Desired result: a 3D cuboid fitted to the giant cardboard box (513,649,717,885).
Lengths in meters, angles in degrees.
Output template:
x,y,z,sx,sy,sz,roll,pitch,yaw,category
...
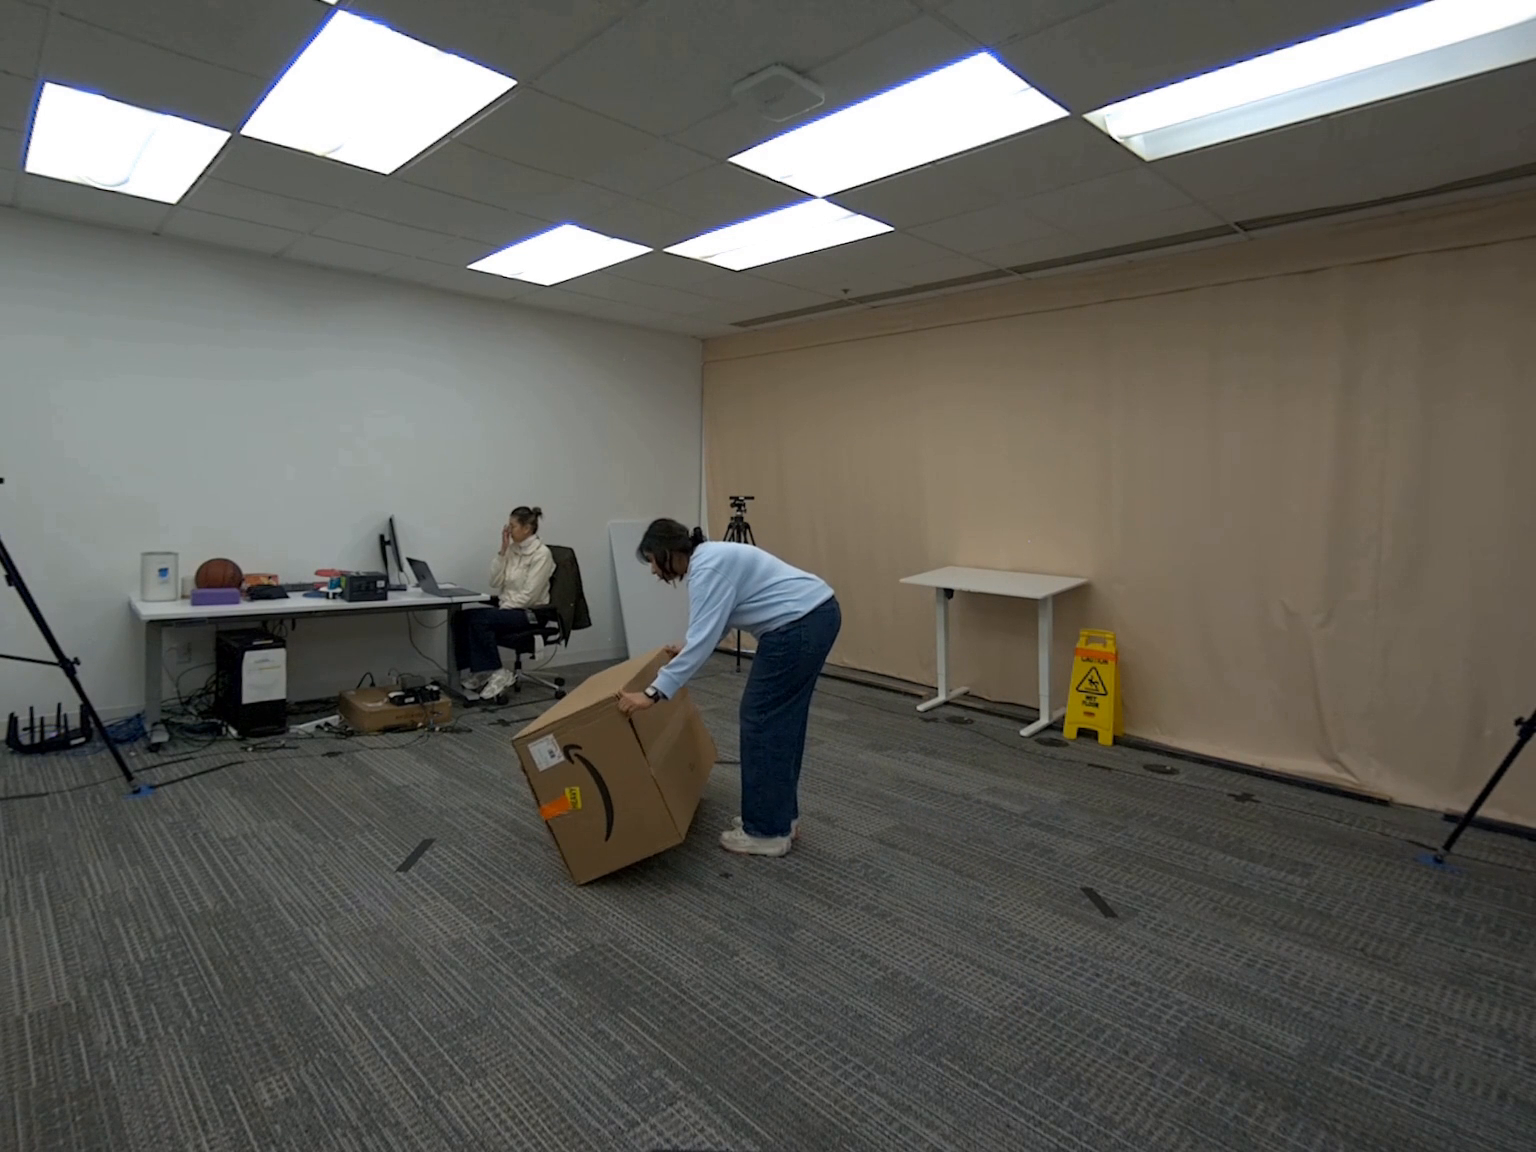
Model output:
x,y,z,sx,sy,sz,roll,pitch,yaw,category
-0.576,0.701,3.463,0.427,0.577,1.024,-24,2,6,giant cardboard box
